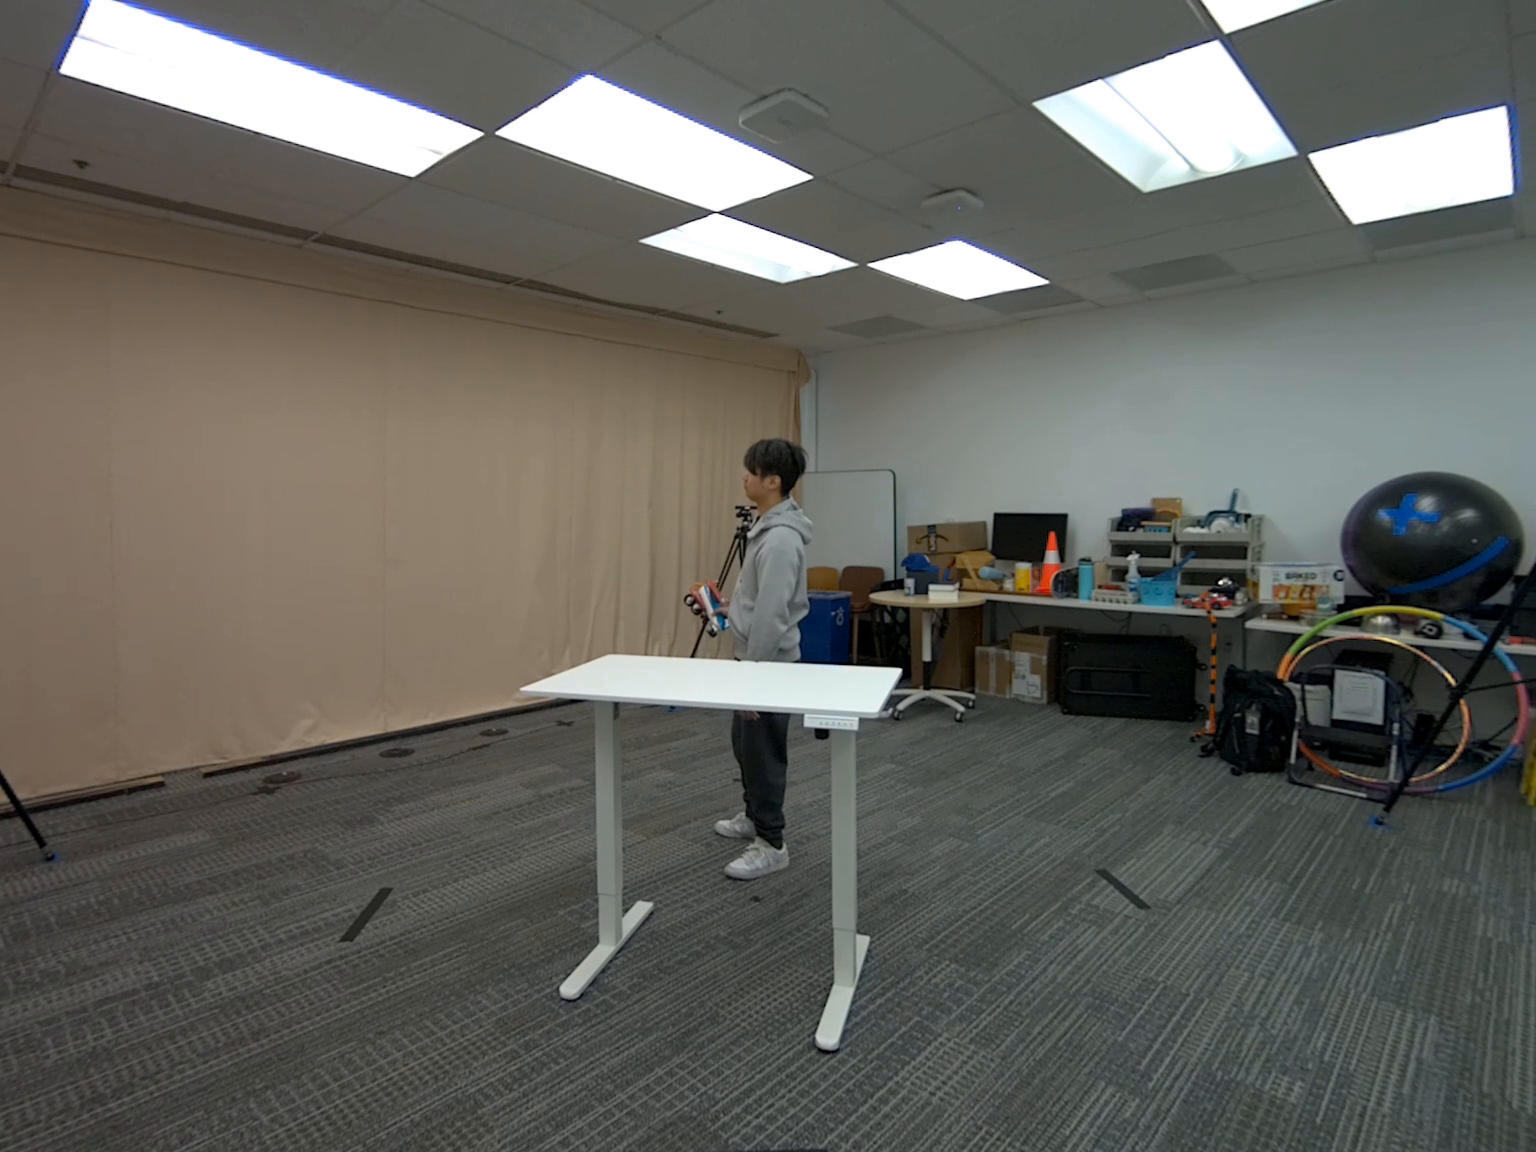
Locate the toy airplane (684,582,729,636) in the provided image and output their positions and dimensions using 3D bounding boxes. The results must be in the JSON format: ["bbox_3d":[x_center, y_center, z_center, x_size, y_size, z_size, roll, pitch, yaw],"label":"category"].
[{"bbox_3d":[-0.252,0.150,3.744,0.156,0.262,0.249,-40,-9,-7],"label":"toy airplane"}]
